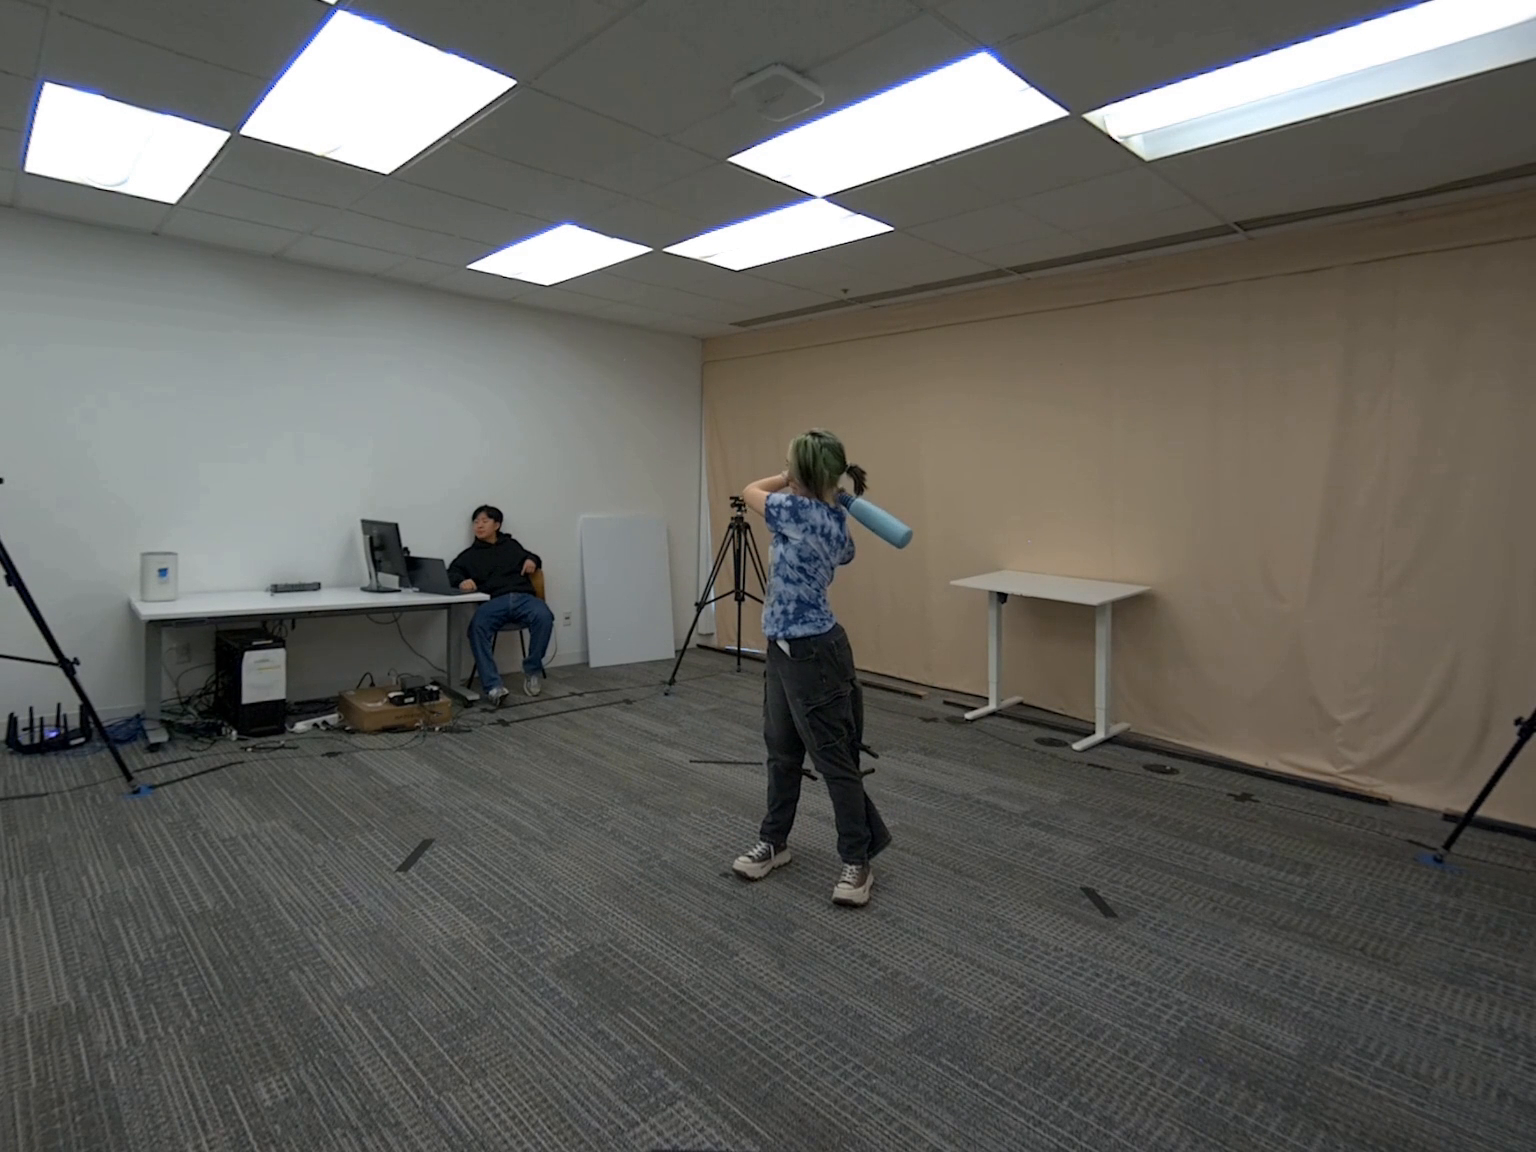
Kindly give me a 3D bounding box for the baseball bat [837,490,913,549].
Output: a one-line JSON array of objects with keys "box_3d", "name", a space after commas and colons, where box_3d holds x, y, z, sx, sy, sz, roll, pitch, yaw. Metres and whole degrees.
[{"box_3d": [0.301, -0.275, 3.167, 0.558, 0.088, 0.087, 37, 23, 30], "name": "baseball bat"}]
